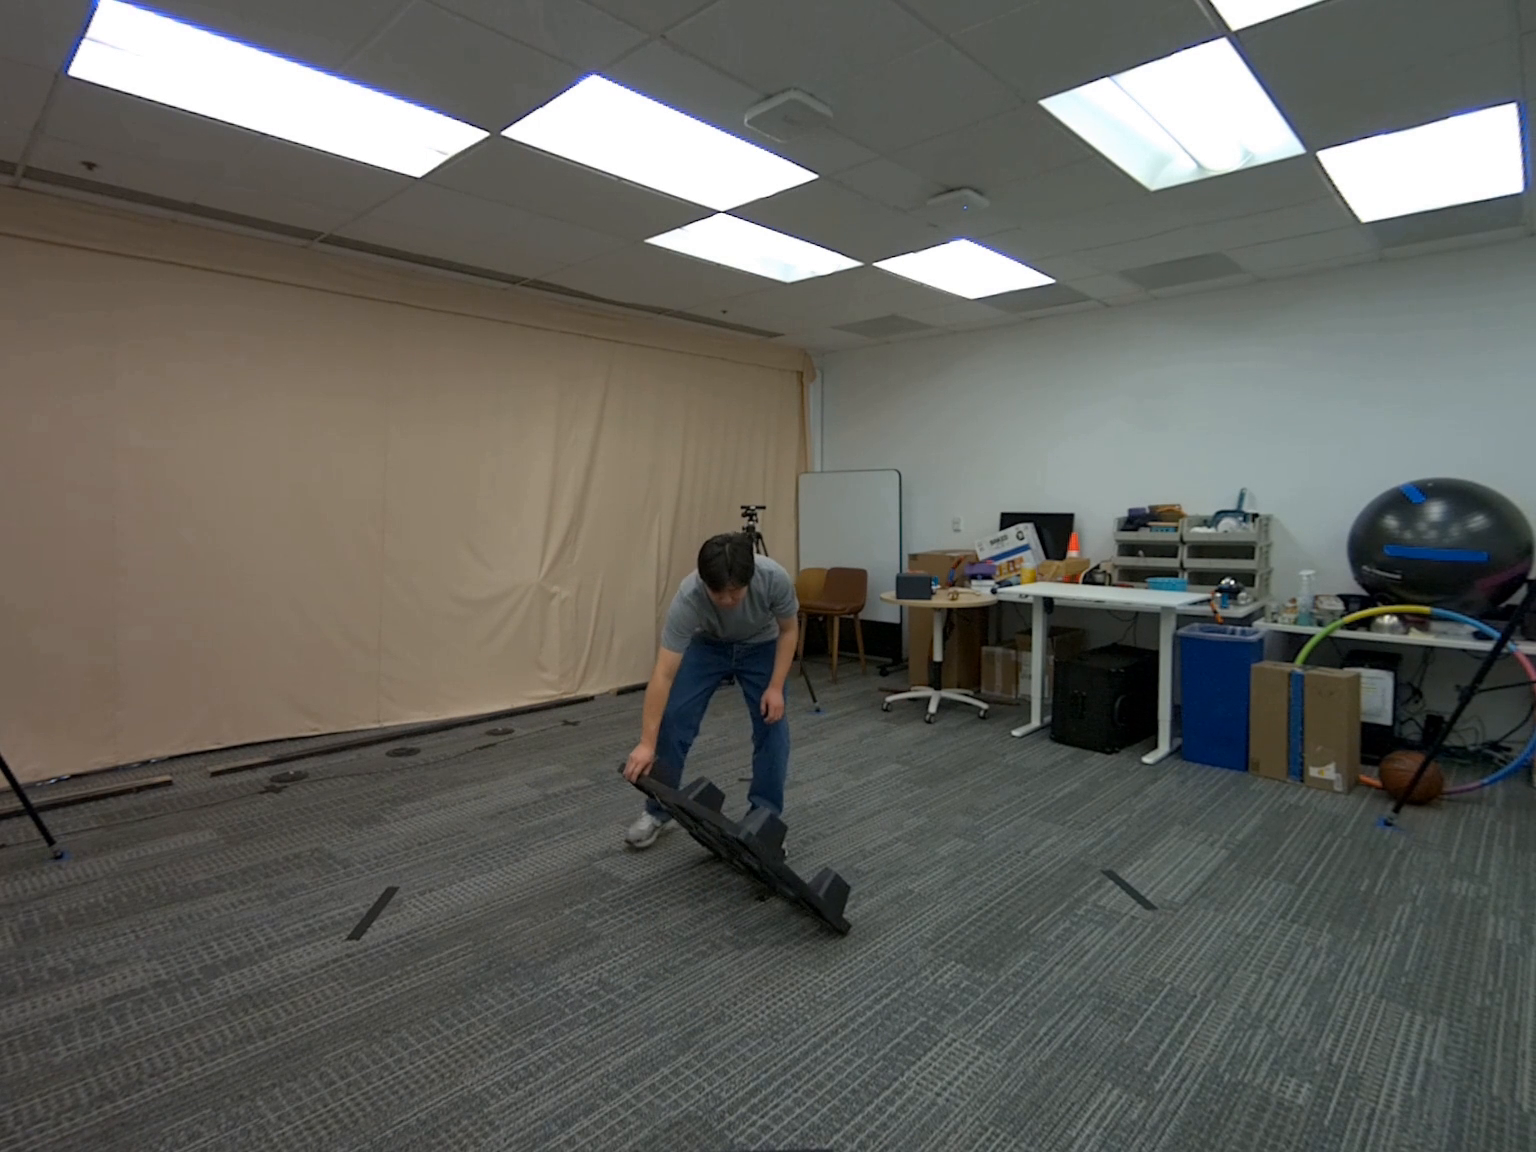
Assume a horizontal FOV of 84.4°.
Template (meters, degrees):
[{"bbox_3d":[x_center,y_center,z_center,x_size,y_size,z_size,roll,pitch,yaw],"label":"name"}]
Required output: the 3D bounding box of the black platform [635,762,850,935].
[{"bbox_3d":[-0.118,0.900,2.929,0.831,0.143,0.588,6,-37,54],"label":"black platform"}]
